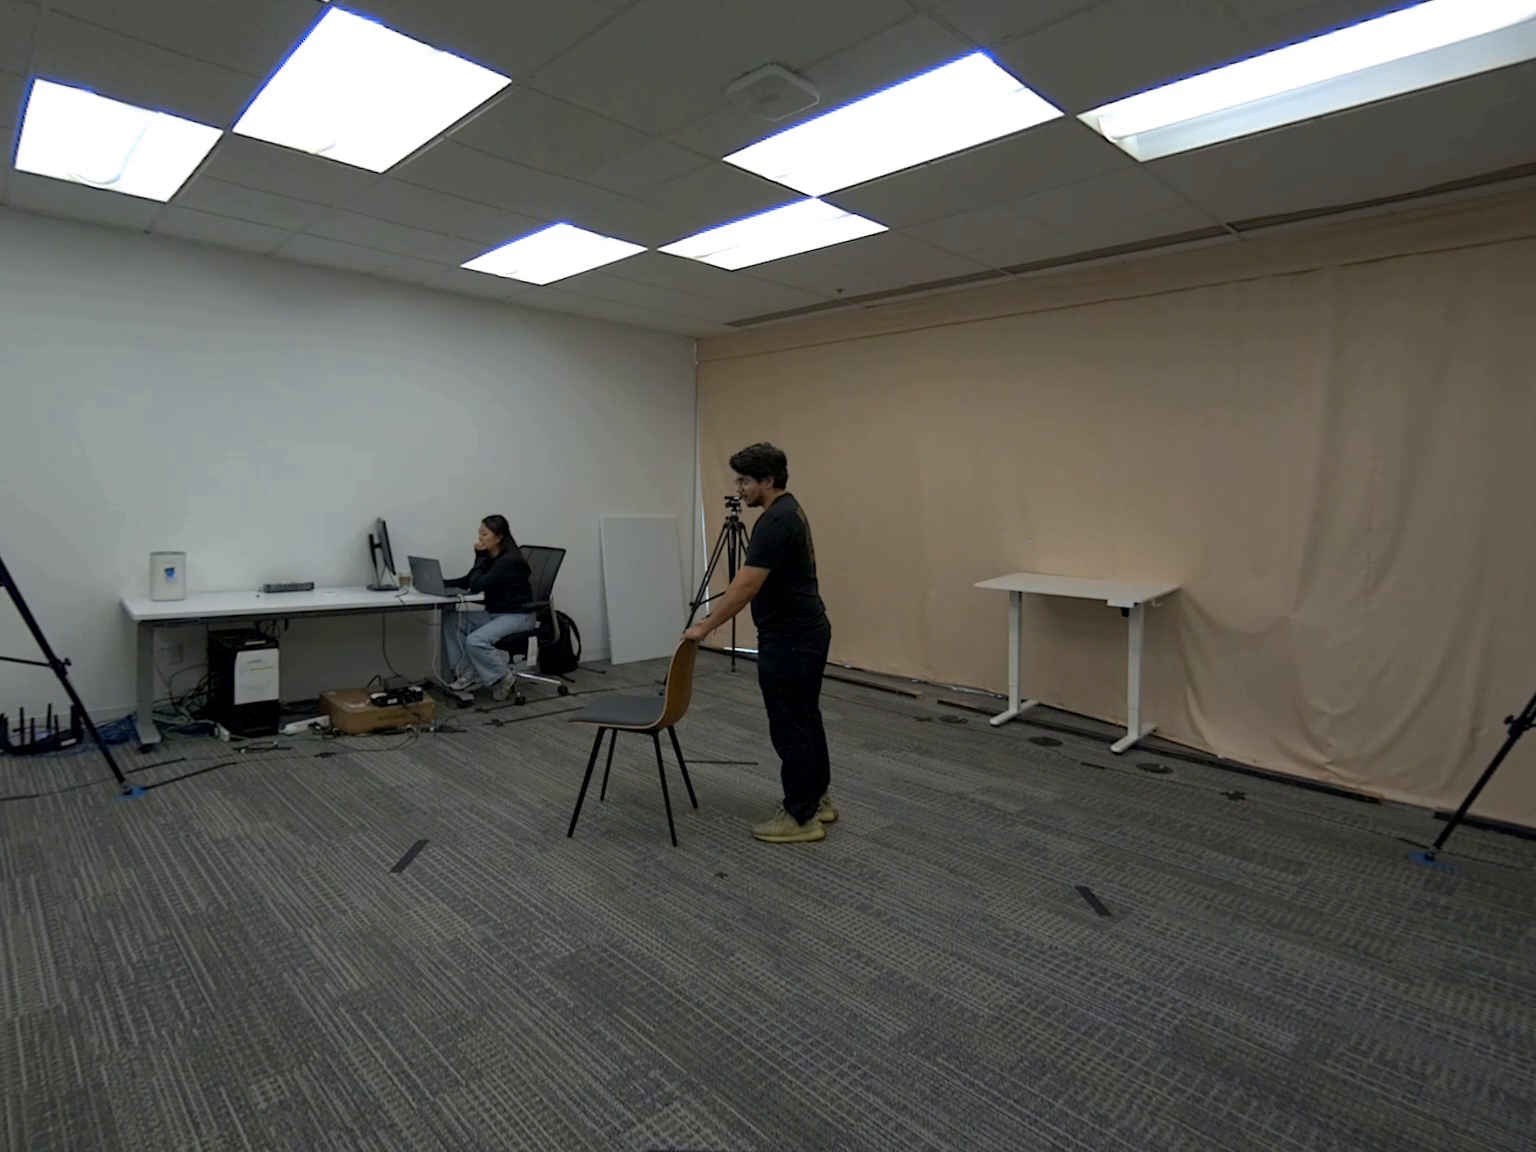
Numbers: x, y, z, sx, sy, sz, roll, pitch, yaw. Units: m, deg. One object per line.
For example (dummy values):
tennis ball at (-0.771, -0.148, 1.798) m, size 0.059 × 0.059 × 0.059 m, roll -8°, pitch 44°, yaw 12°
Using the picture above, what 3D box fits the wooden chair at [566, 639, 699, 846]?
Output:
wooden chair at (-0.566, 0.622, 3.558) m, size 0.526 × 0.875 × 0.476 m, roll 6°, pitch 4°, yaw 7°
